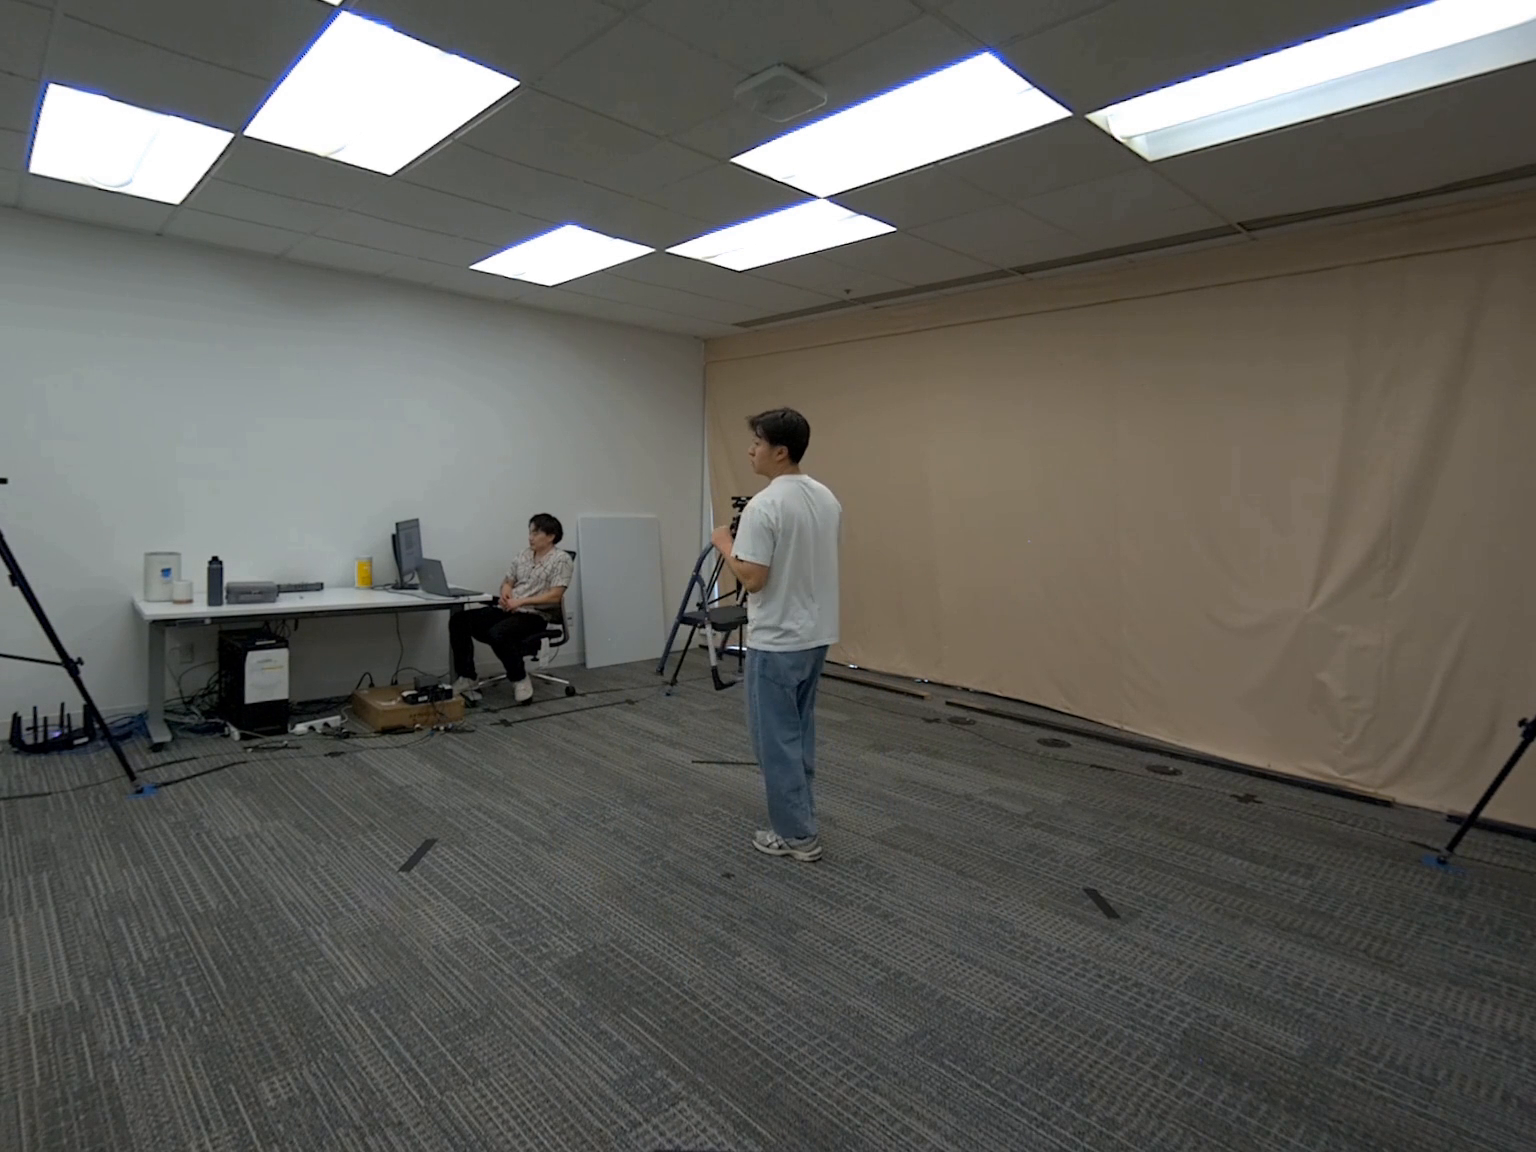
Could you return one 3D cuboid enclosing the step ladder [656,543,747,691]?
[{"bbox_3d":[-0.199,0.118,3.488,0.358,0.603,0.422,7,7,35],"label":"step ladder"}]
